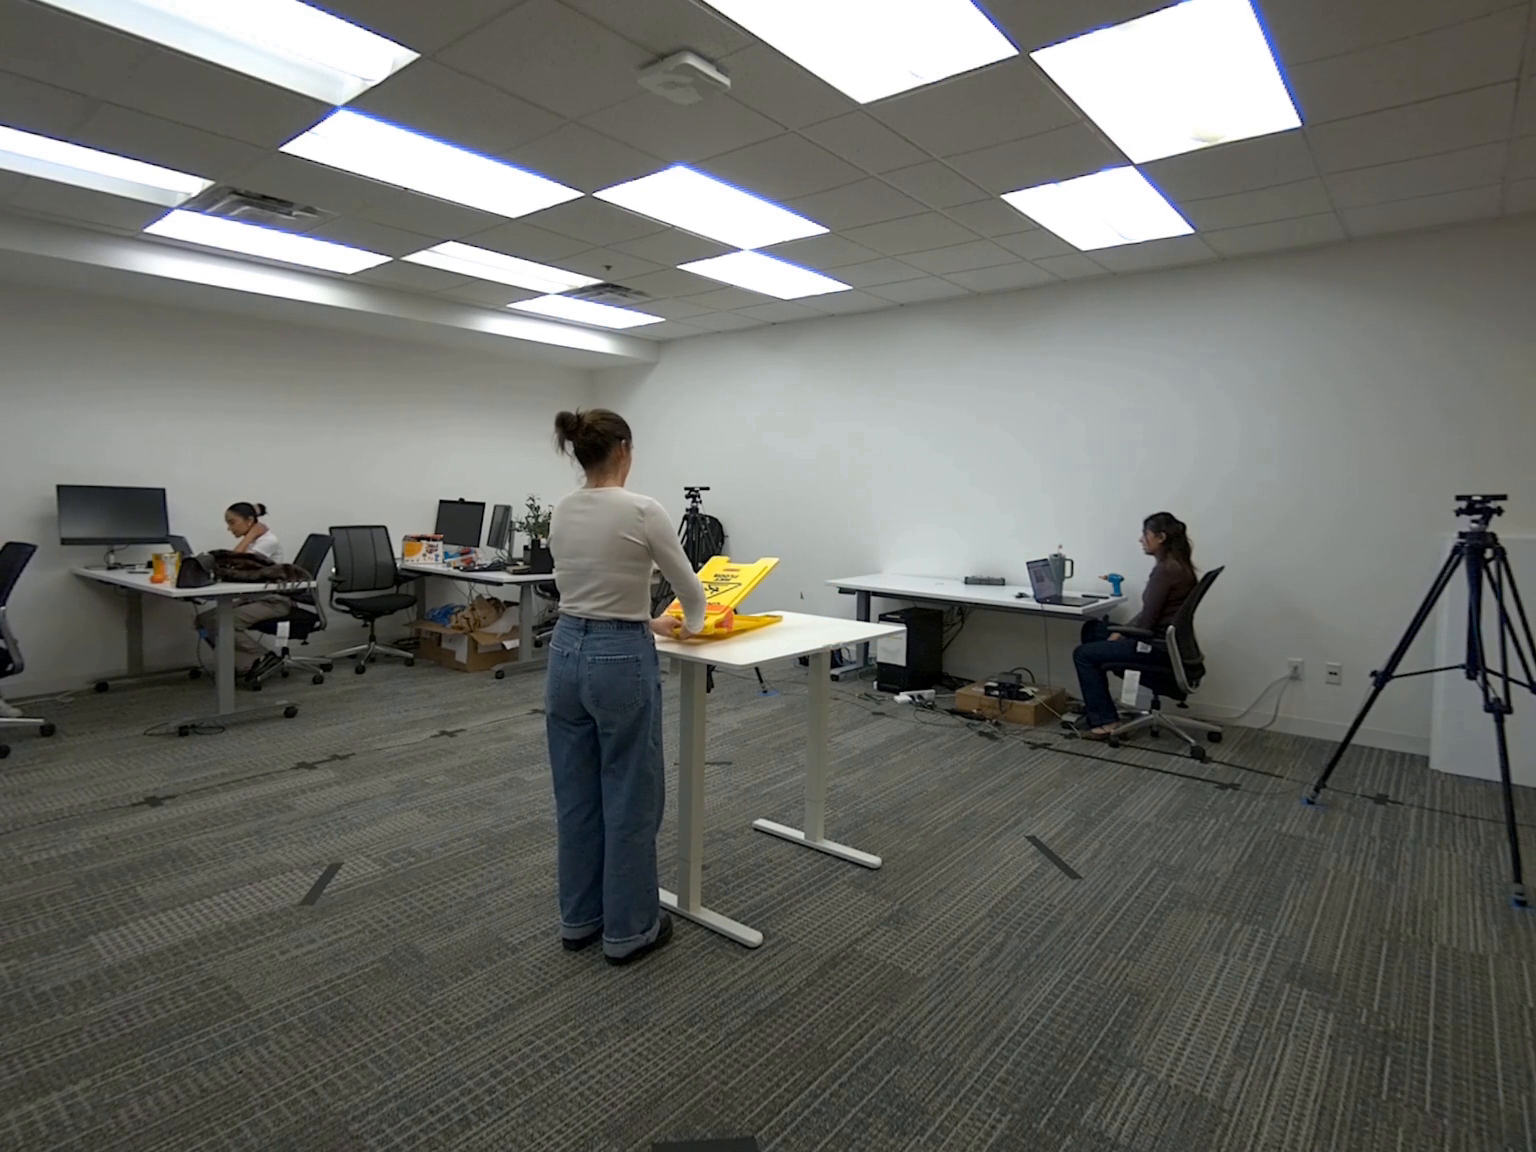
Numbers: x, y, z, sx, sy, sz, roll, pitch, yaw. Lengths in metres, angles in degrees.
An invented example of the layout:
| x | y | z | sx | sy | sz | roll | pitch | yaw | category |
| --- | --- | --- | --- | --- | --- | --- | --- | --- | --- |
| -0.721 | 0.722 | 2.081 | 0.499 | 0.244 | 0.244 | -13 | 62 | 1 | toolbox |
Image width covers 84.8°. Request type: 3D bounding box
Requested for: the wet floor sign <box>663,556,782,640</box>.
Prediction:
| x | y | z | sx | sy | sz | roll | pitch | yaw | category |
| --- | --- | --- | --- | --- | --- | --- | --- | --- | --- |
| -0.188 | 0.119 | 3.044 | 0.289 | 0.287 | 0.638 | 1 | 12 | 21 | wet floor sign |
